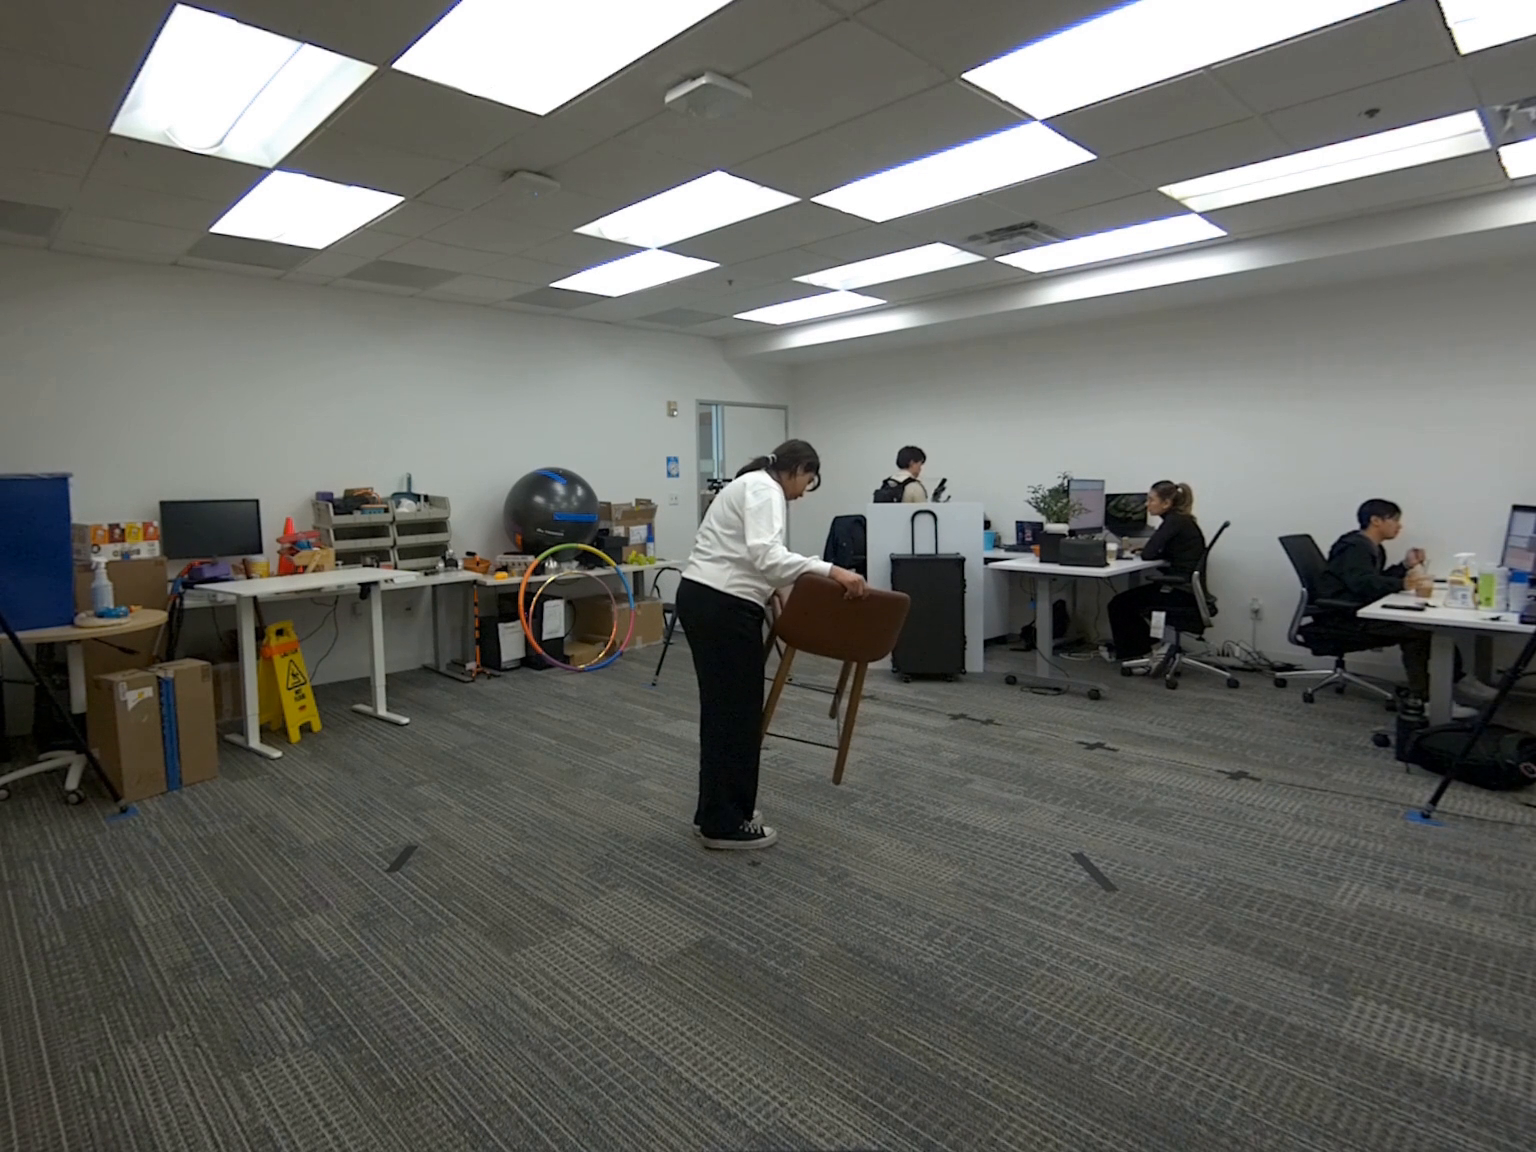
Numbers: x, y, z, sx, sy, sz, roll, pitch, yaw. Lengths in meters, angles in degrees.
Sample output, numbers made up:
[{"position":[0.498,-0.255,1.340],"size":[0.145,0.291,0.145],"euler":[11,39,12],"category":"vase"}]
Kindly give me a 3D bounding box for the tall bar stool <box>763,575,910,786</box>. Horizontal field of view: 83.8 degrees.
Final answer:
[{"position":[0.211,0.303,3.320],"size":[0.455,0.876,0.477],"euler":[12,28,-4],"category":"tall bar stool"}]
